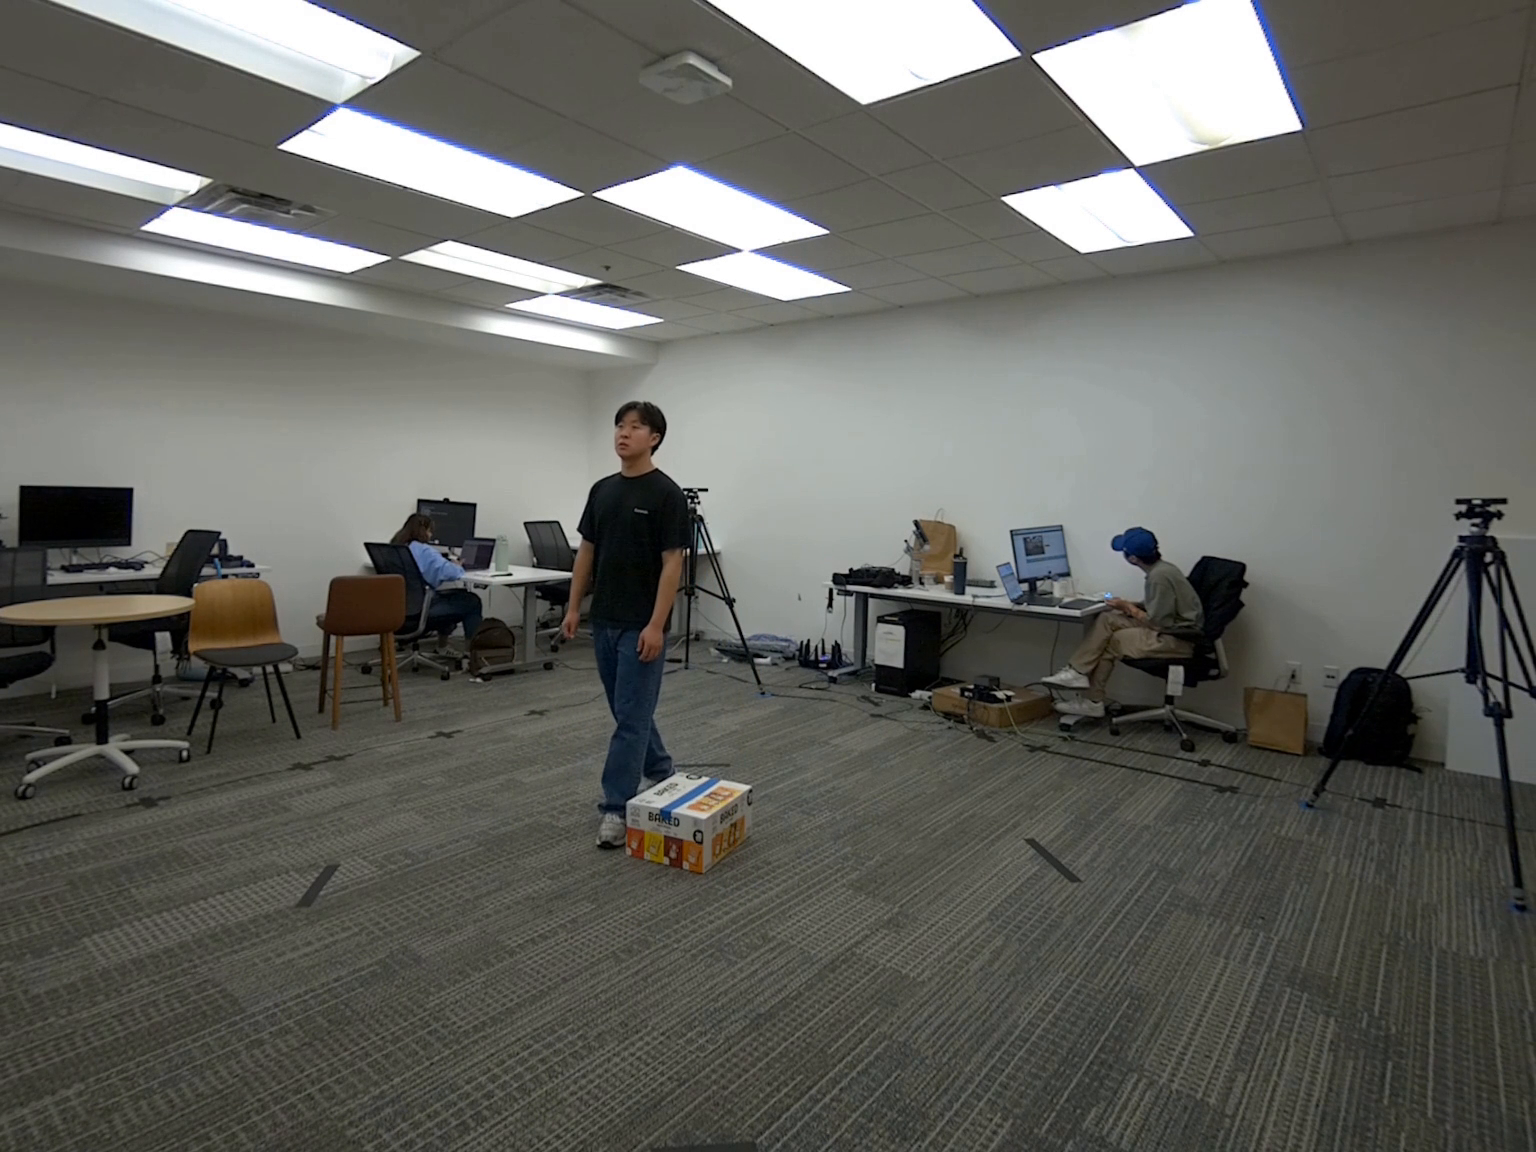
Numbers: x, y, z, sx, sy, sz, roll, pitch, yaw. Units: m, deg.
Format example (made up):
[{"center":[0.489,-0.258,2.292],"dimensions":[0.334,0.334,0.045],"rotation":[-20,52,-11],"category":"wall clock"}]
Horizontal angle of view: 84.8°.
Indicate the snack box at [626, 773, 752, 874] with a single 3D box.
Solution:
[{"center":[-0.310,0.945,3.316],"dimensions":[0.349,0.205,0.396],"rotation":[3,6,26],"category":"snack box"}]
